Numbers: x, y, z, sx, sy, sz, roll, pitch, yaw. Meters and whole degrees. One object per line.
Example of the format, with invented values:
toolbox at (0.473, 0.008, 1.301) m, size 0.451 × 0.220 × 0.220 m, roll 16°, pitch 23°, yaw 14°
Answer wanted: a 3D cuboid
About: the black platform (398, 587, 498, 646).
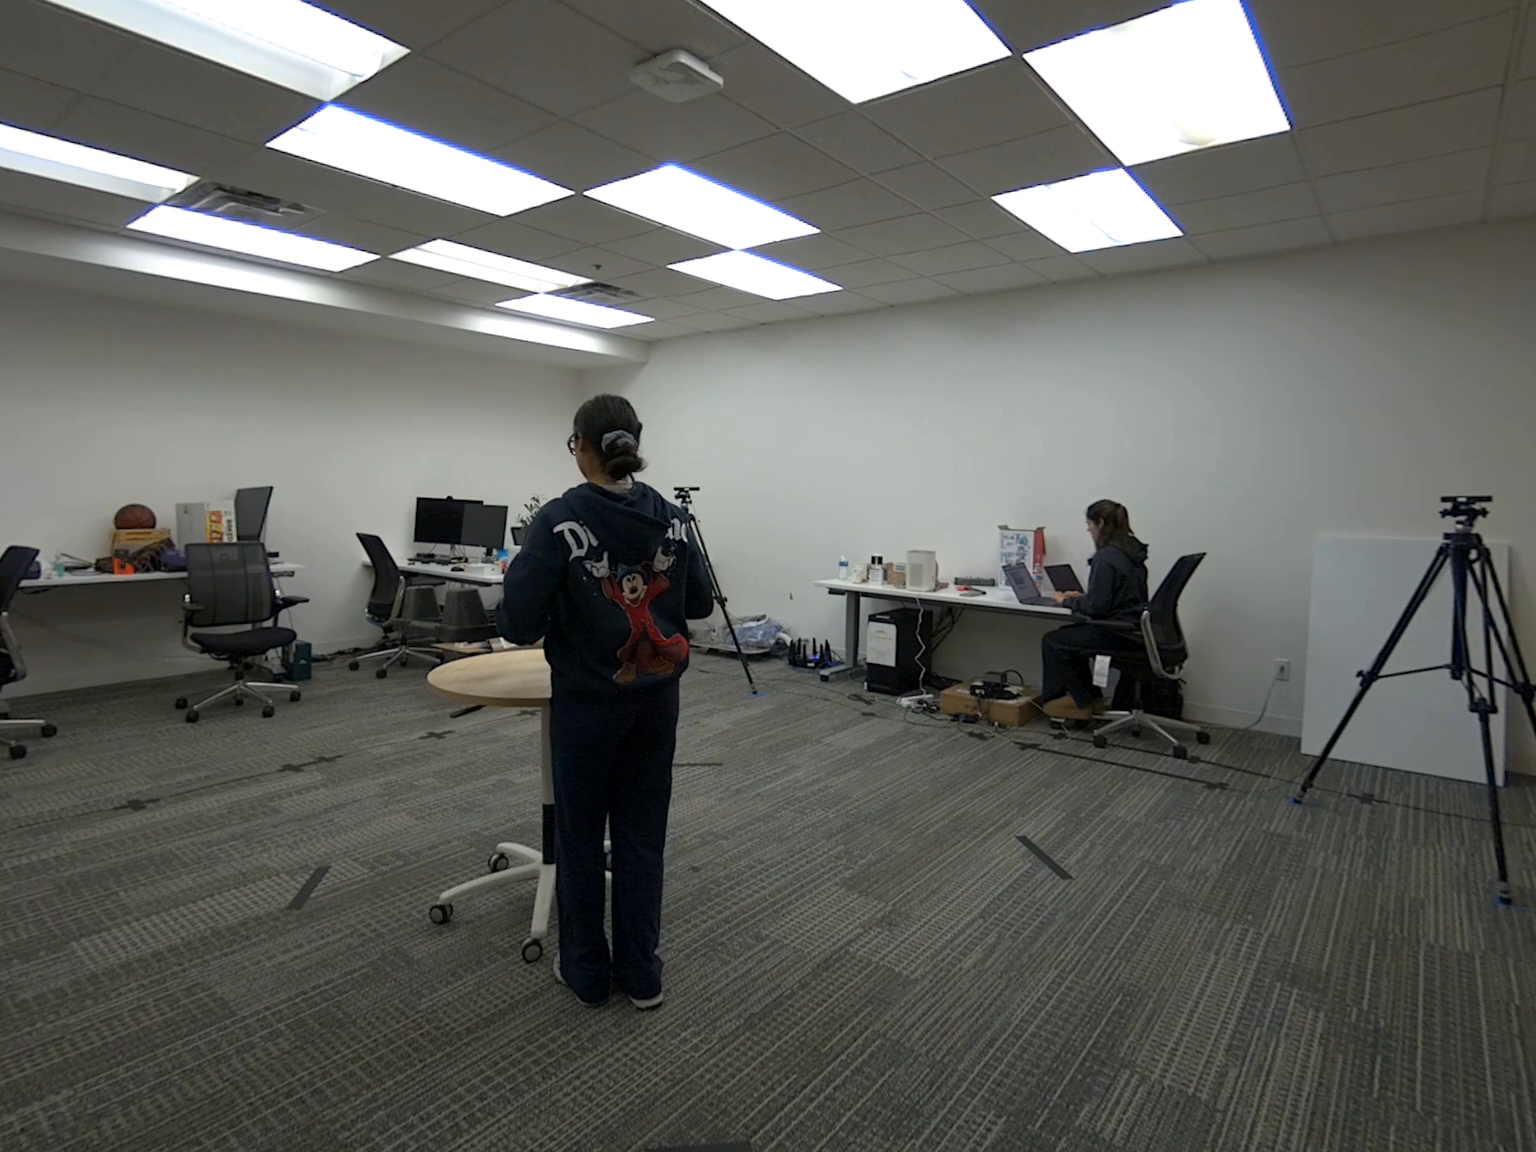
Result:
black platform at (-0.675, 0.076, 2.614) m, size 0.782 × 0.143 × 0.623 m, roll -5°, pitch 4°, yaw -38°
